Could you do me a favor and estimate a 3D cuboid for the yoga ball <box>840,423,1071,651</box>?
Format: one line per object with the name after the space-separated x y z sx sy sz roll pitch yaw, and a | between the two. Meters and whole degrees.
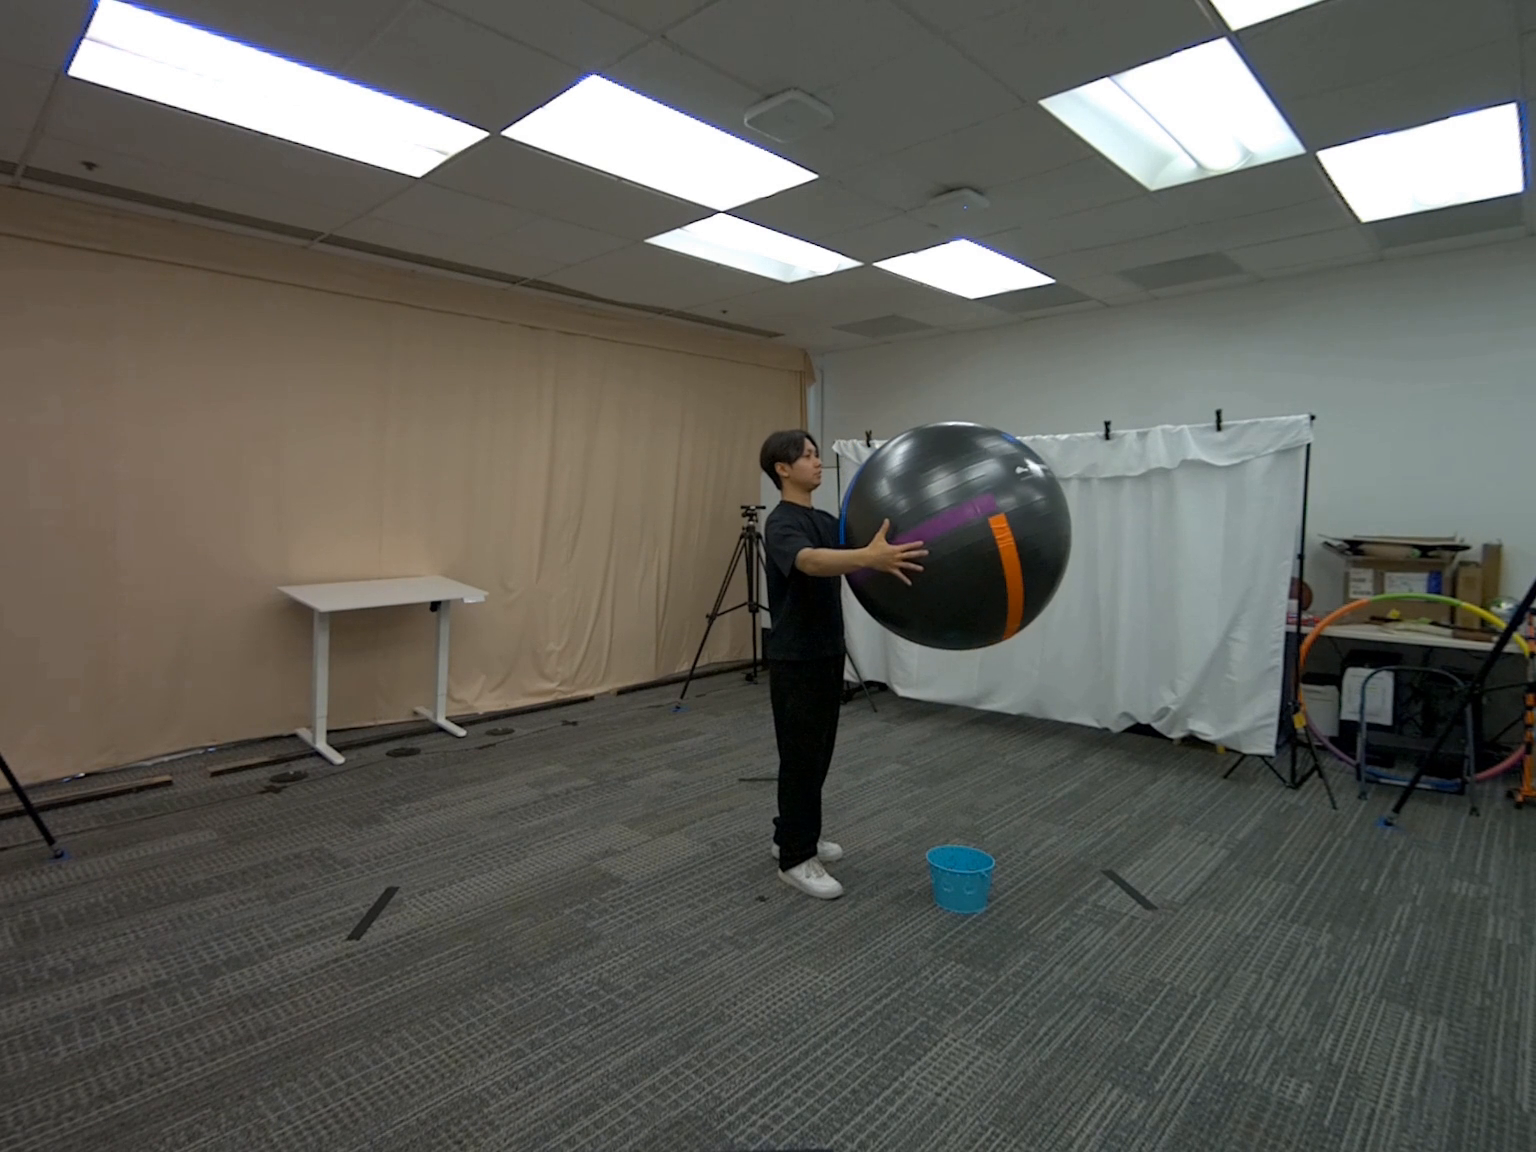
0.626 -0.133 2.824 0.757 0.756 0.760 0 4 -2 | yoga ball
